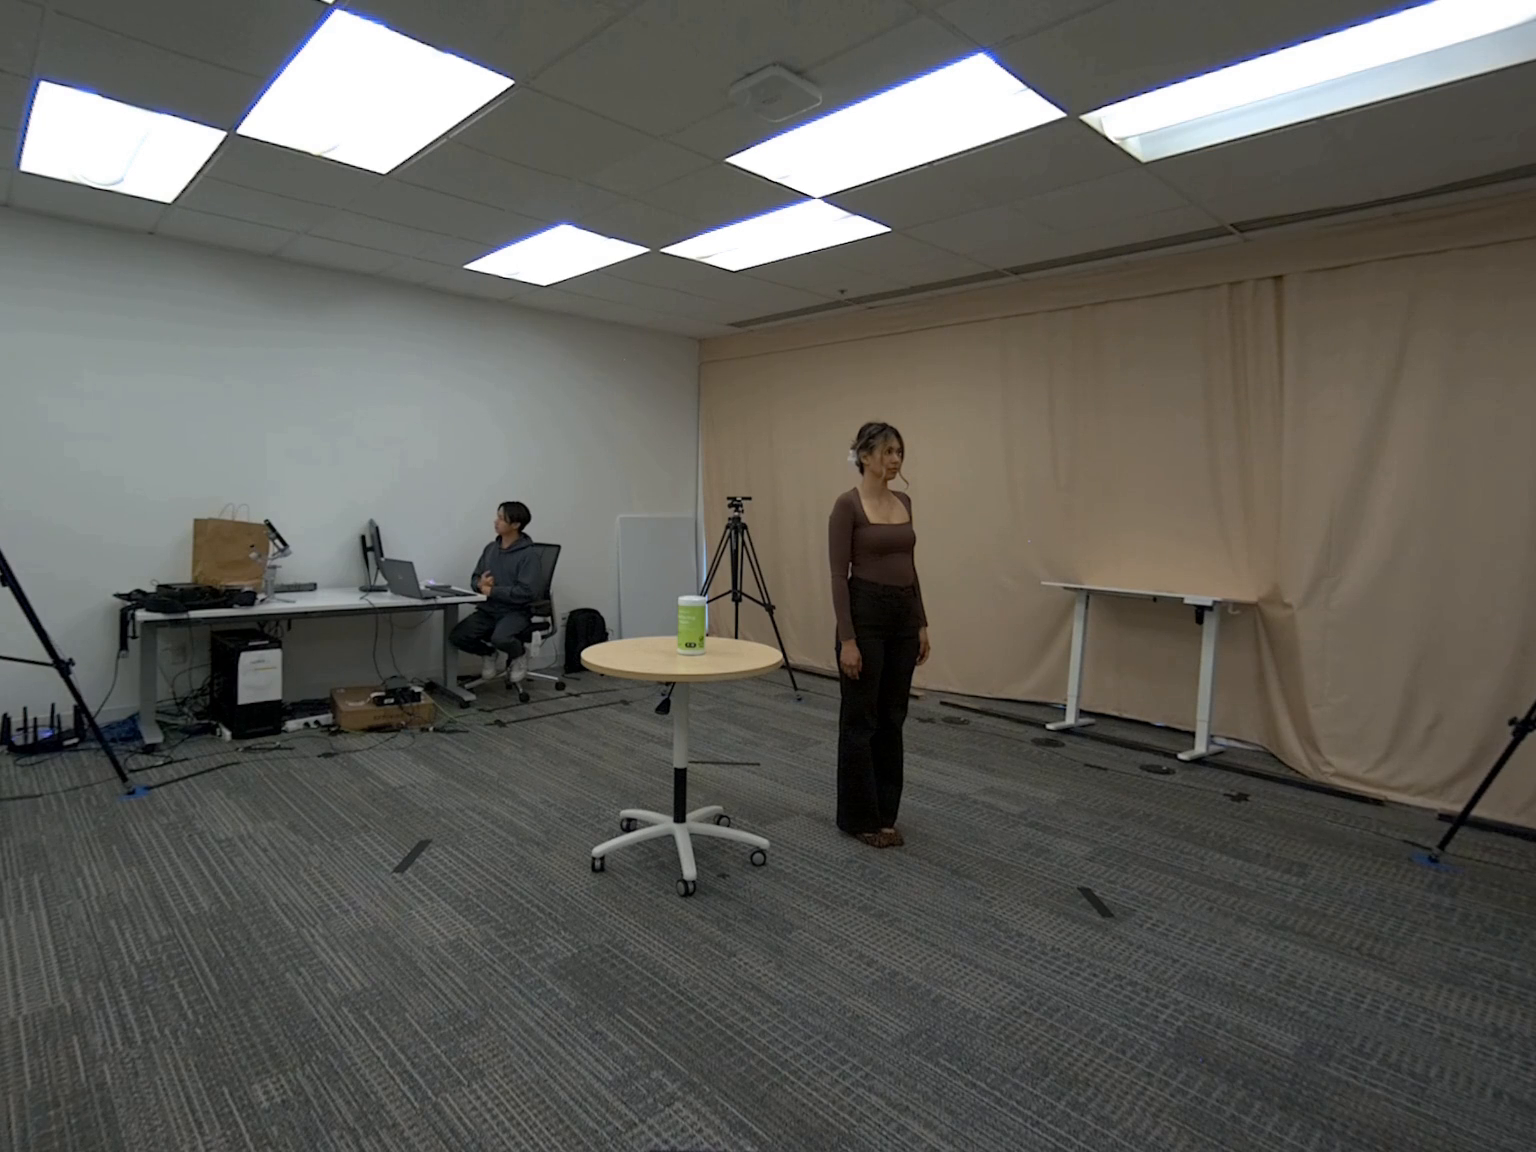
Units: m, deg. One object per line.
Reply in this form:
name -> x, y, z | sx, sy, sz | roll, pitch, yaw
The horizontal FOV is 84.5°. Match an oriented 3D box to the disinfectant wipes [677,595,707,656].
disinfectant wipes -> -0.298, 0.189, 3.213 | 0.118, 0.217, 0.118 | 3, 5, -2
